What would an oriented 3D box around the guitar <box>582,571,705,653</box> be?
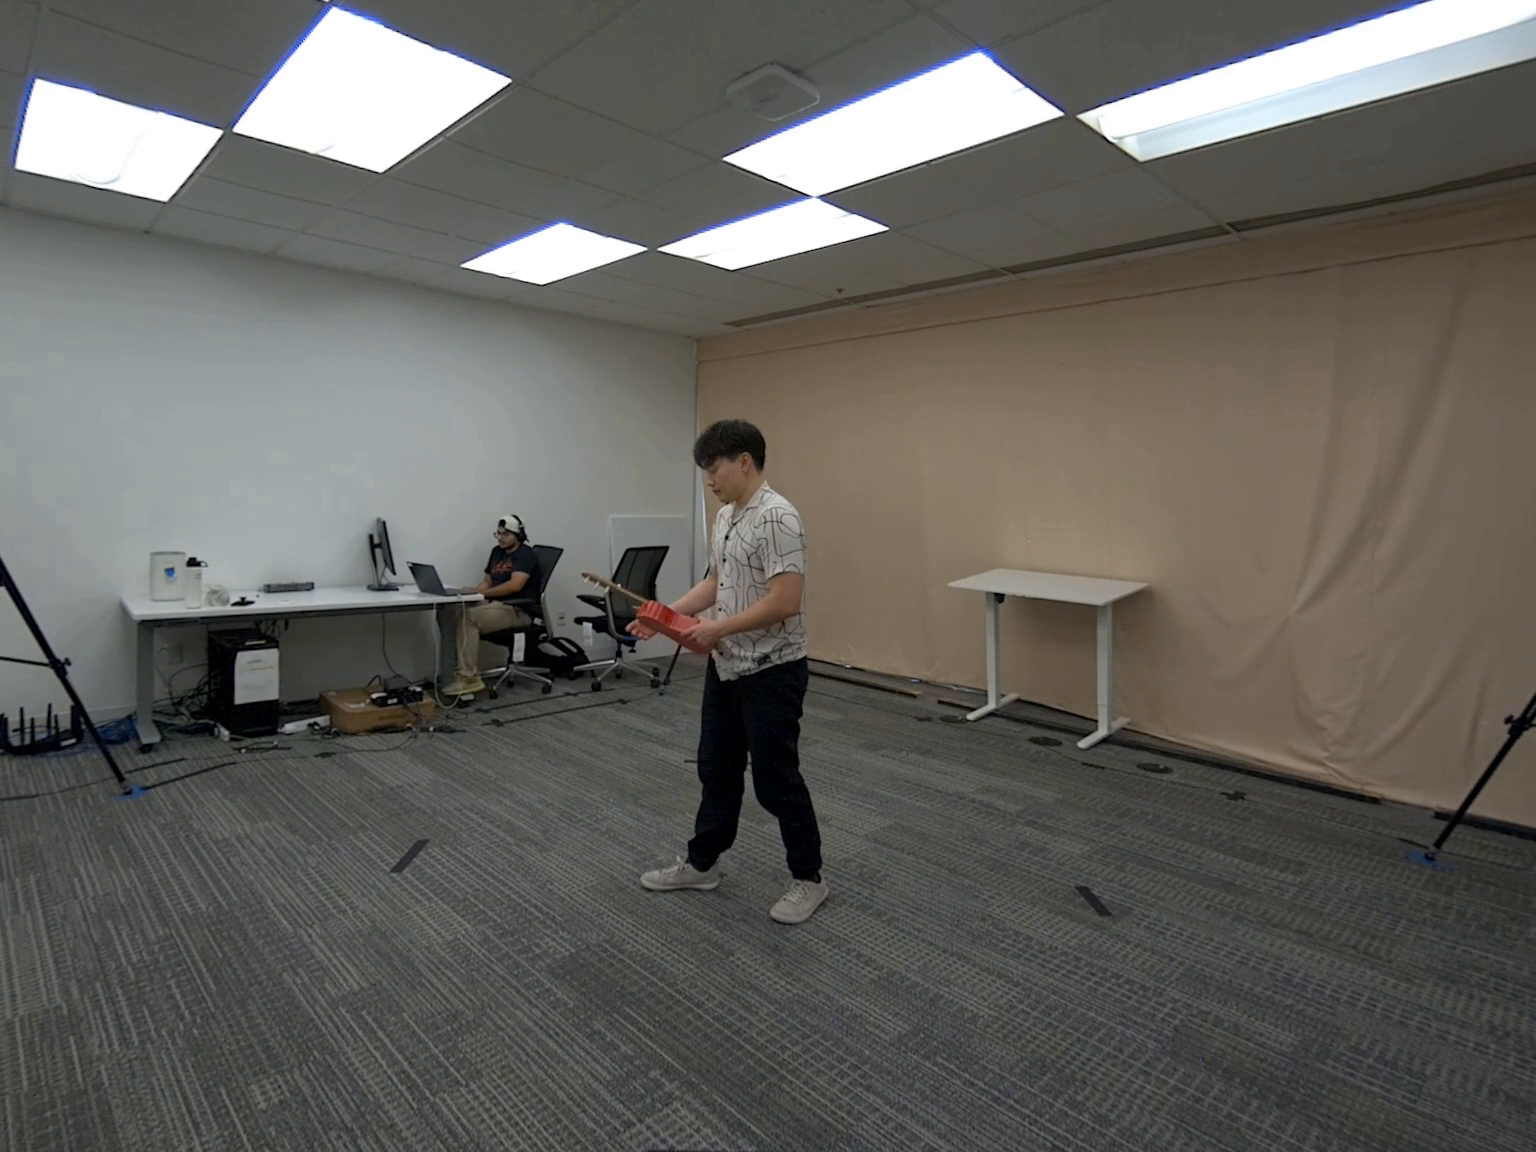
[{"bbox_3d":[-0.408,0.120,2.841,0.502,0.071,0.190,23,-22,8],"label":"guitar"}]
